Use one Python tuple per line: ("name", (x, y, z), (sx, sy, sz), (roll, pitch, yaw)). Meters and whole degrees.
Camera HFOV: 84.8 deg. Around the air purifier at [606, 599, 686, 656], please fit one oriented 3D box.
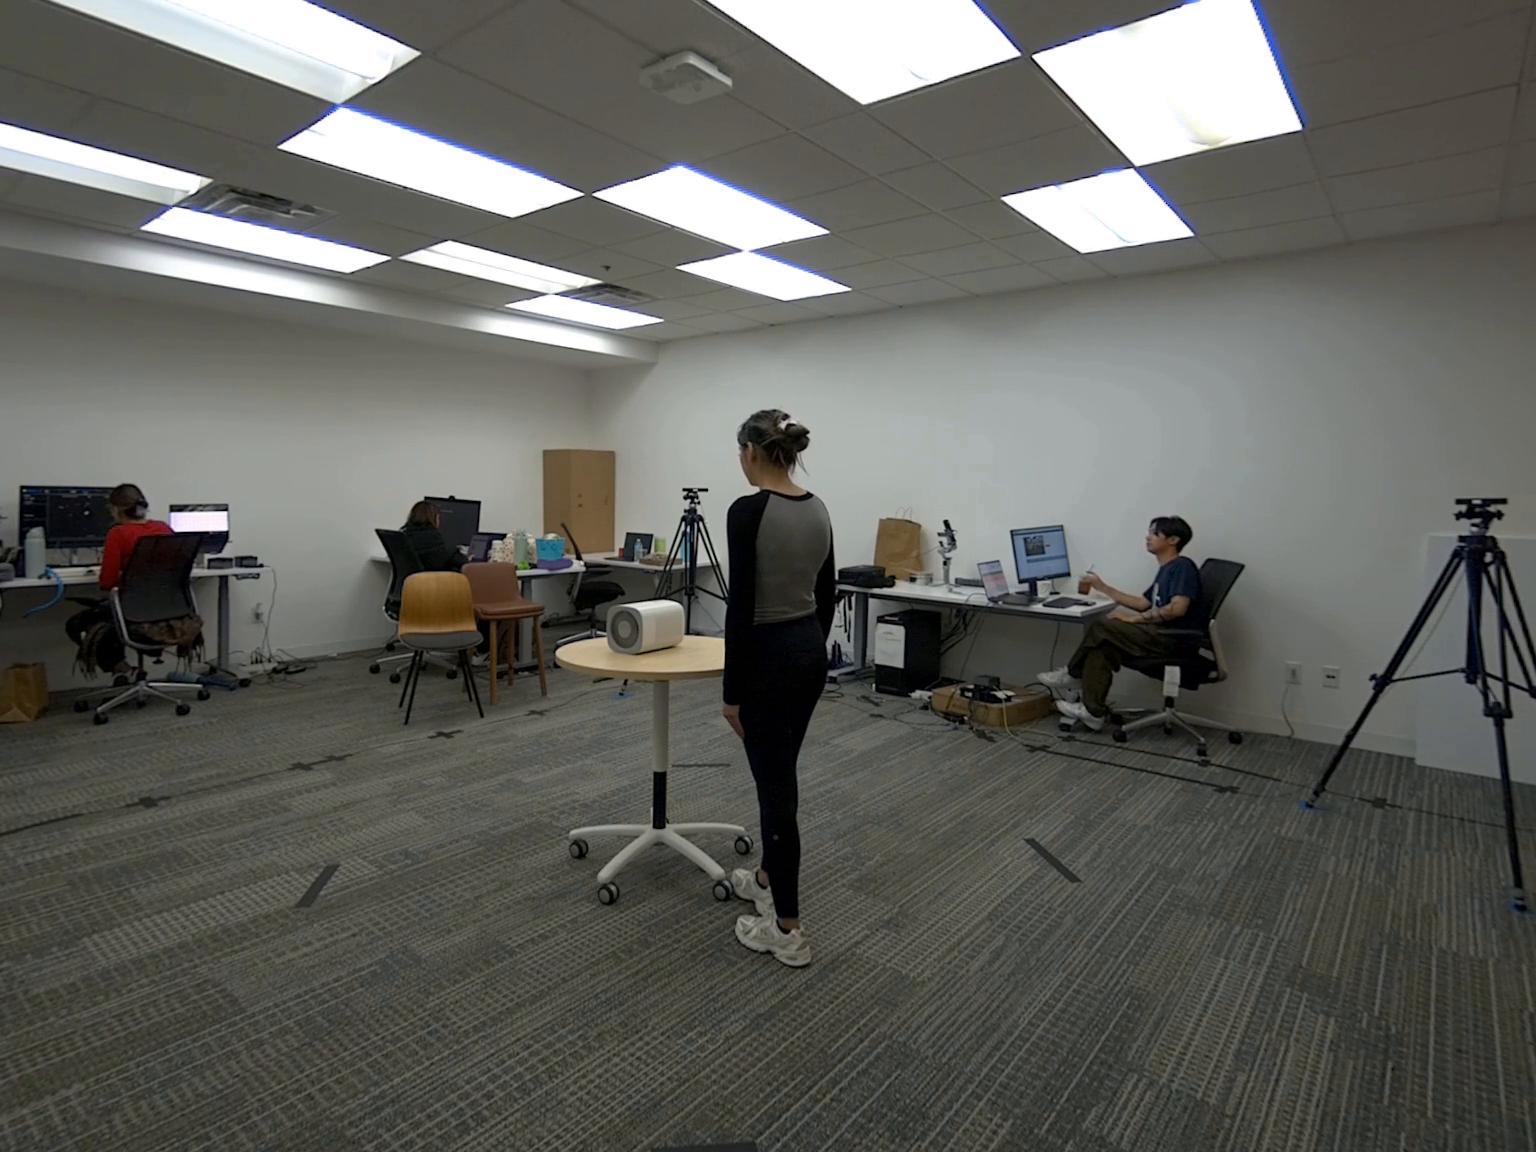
("air purifier", (-0.456, 0.181, 3.157), (0.176, 0.171, 0.258), (2, 4, 34))
